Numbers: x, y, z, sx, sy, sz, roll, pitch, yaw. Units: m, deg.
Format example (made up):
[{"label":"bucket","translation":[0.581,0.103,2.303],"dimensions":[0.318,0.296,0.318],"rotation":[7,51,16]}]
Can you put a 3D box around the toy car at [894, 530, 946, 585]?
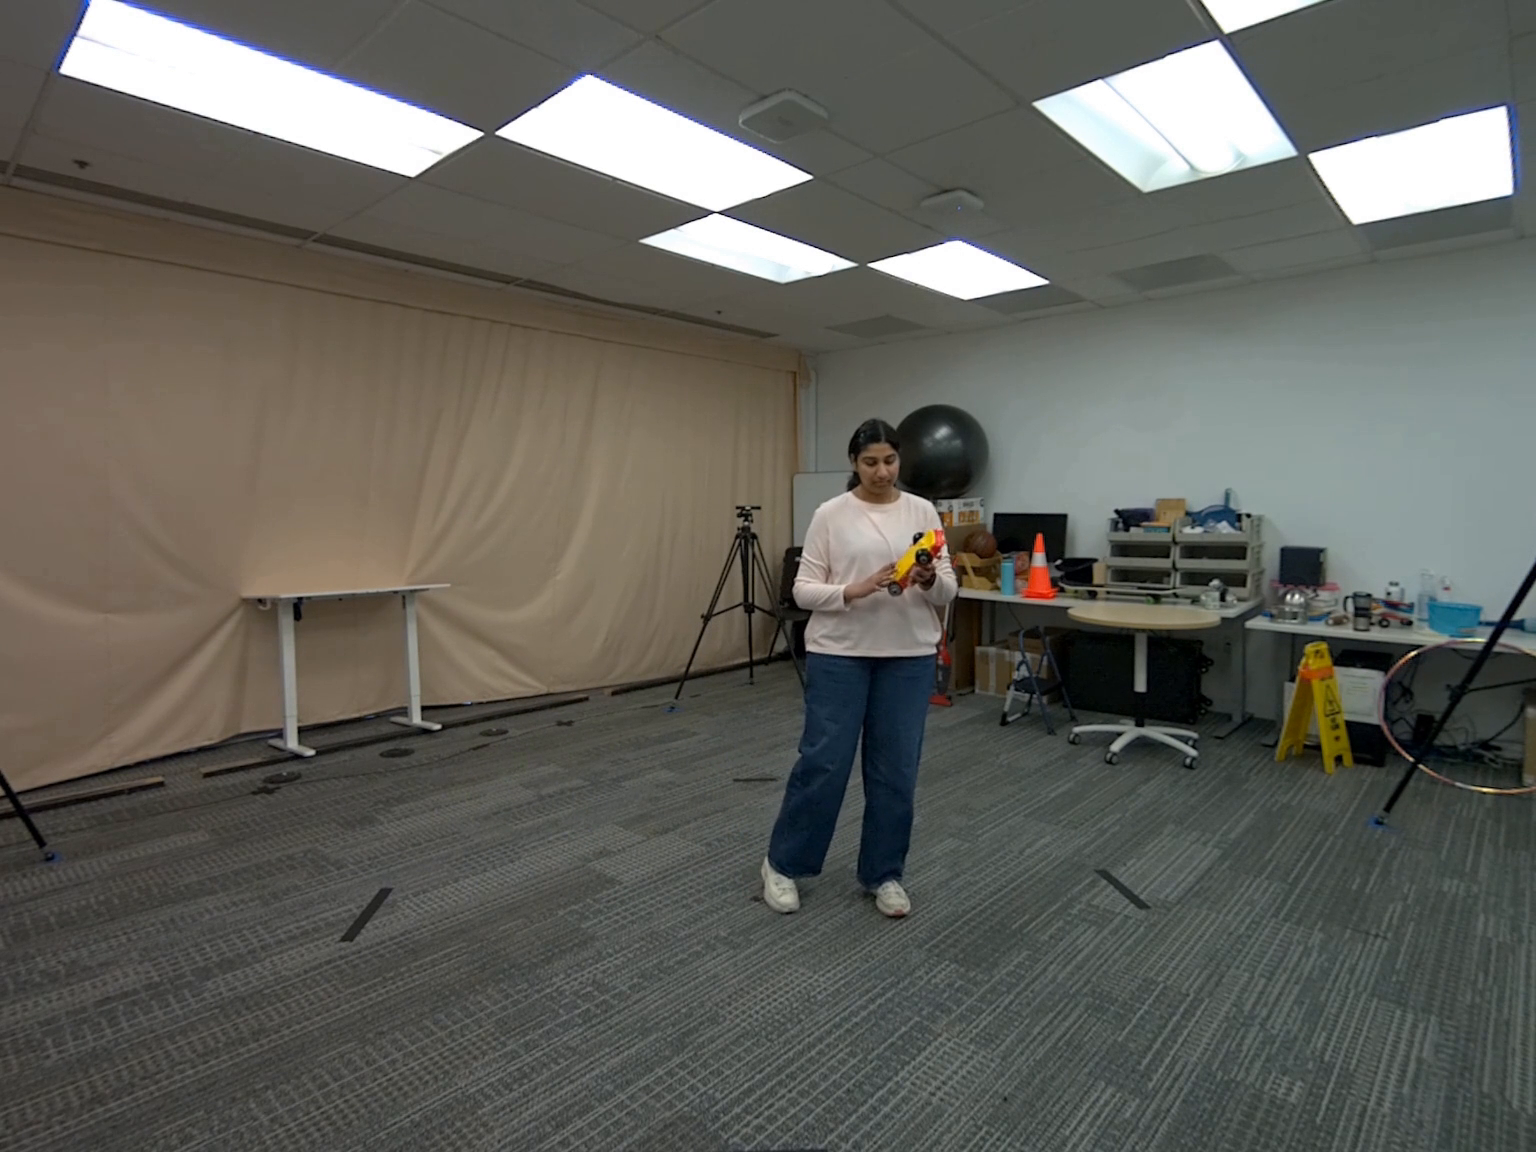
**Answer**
[{"label":"toy car","translation":[0.449,-0.049,2.620],"dimensions":[0.081,0.257,0.132],"rotation":[36,33,-18]}]
